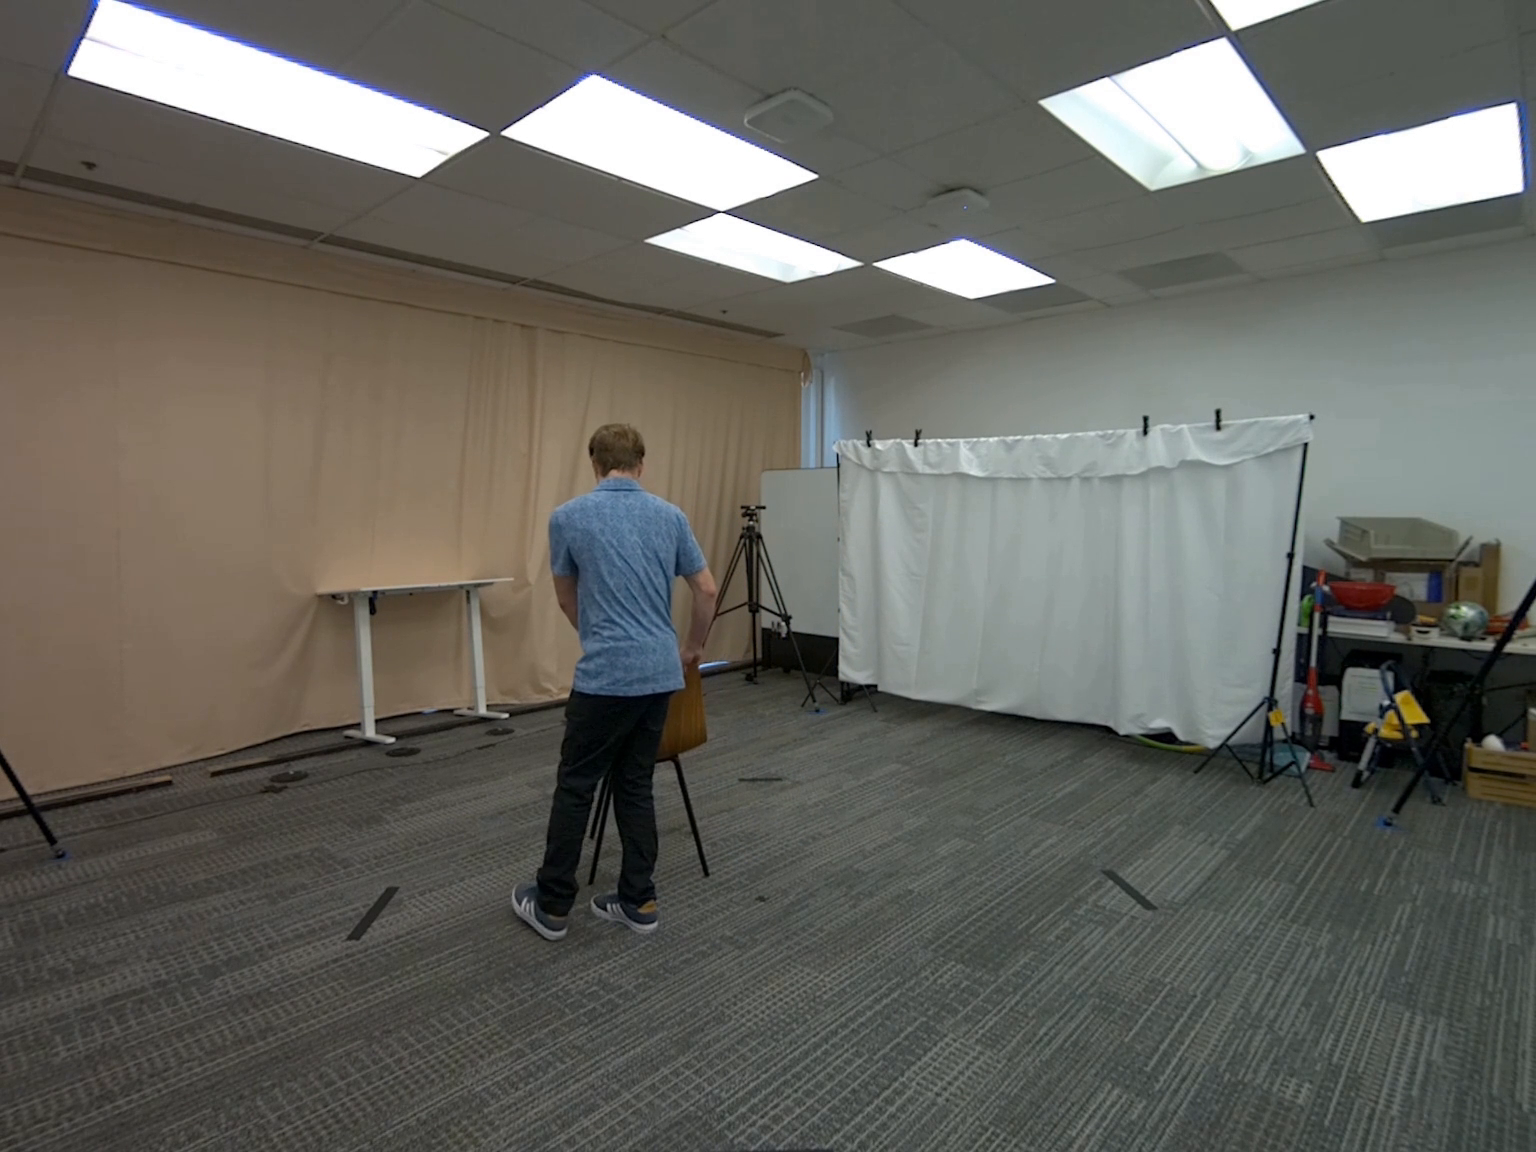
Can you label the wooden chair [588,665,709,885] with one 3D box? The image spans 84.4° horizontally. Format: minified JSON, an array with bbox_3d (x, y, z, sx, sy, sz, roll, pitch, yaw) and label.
[{"bbox_3d":[-0.490,0.690,3.334,0.473,0.873,0.531,-2,7,-10],"label":"wooden chair"}]
